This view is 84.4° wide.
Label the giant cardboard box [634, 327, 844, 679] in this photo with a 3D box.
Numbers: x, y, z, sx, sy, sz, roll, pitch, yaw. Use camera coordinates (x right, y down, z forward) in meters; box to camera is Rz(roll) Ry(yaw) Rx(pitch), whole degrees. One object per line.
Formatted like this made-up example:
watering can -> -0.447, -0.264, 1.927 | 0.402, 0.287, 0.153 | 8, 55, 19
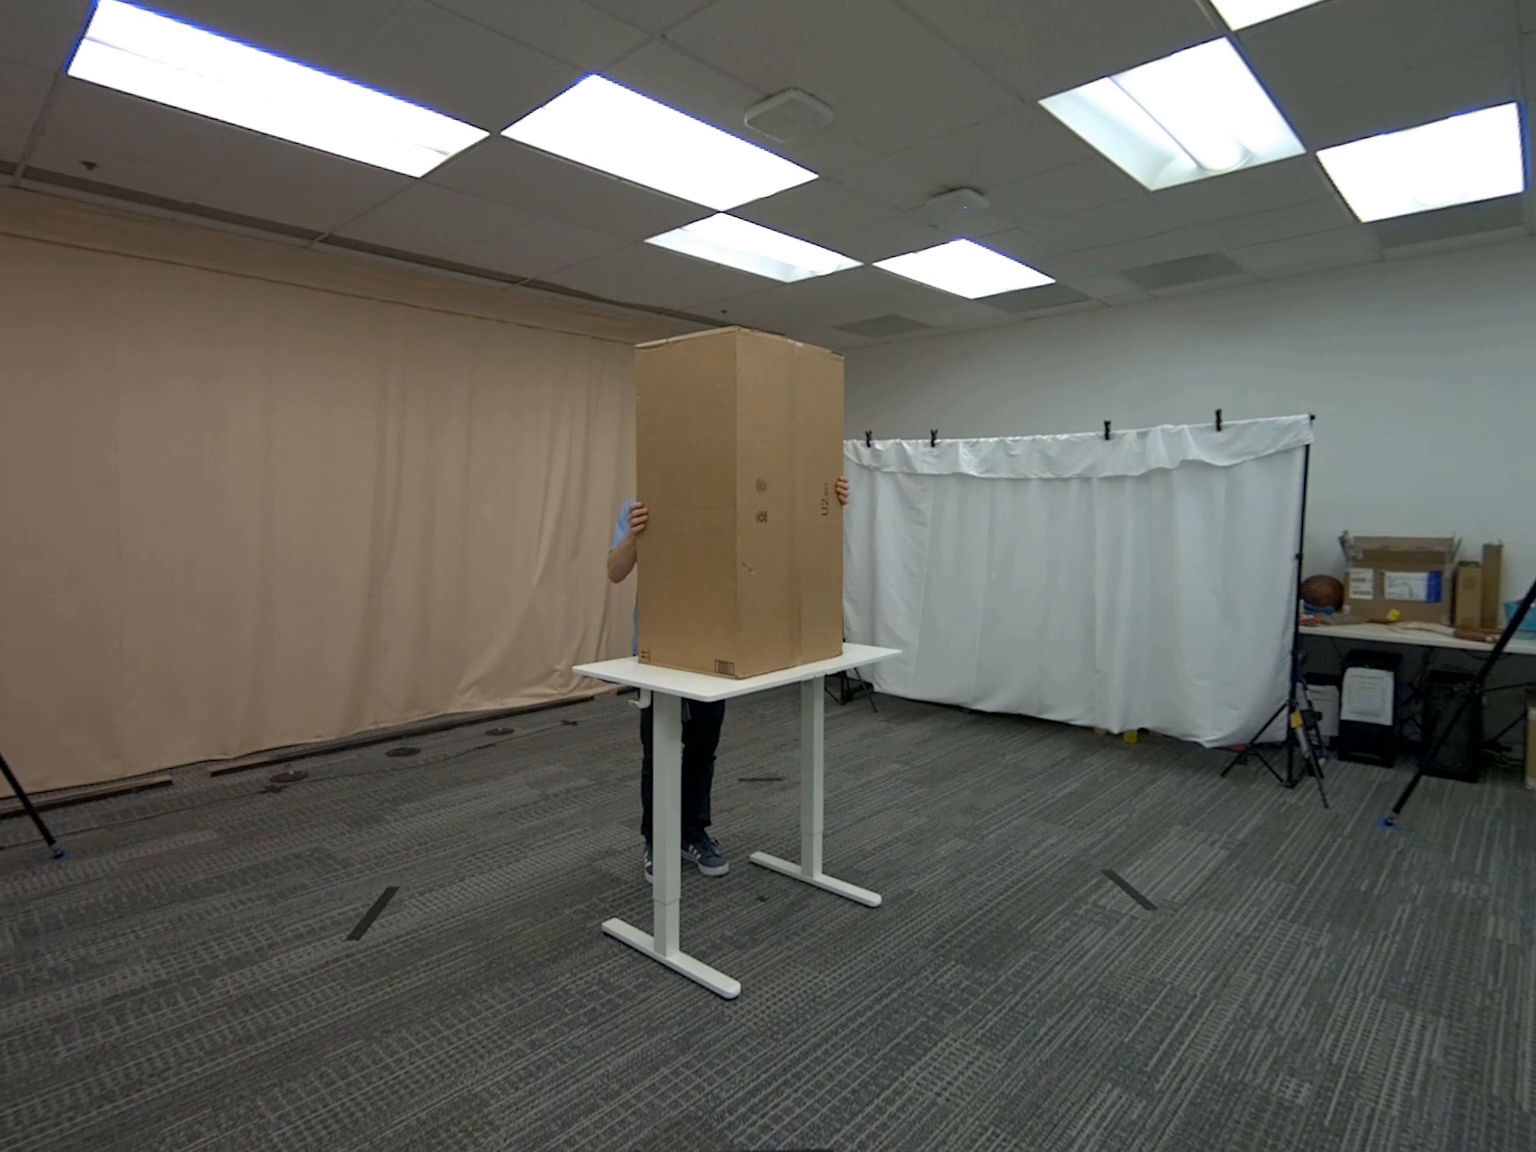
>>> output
giant cardboard box -> -0.082, -0.229, 2.773 | 0.440, 1.024, 0.560 | 3, 4, 39
